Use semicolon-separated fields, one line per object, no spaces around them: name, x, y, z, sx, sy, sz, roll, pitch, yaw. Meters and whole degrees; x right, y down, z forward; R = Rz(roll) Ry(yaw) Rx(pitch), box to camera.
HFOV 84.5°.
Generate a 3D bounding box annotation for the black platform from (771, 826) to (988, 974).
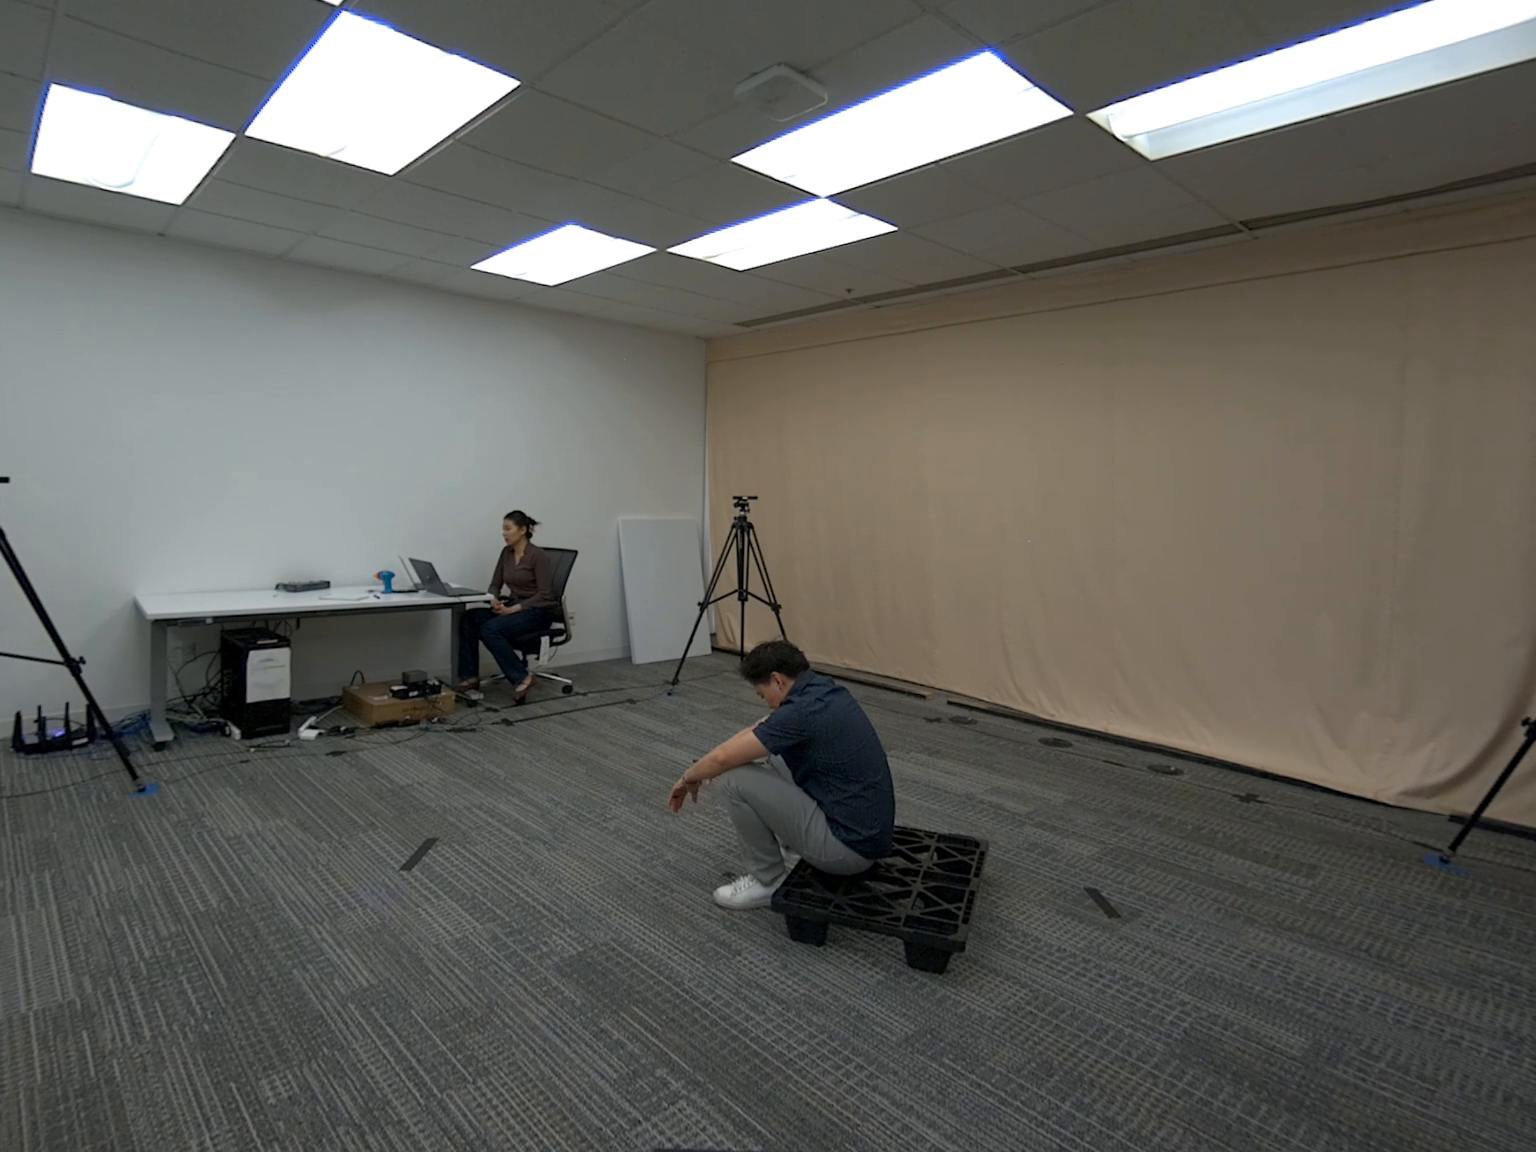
black platform;0.404;1.069;2.895;0.615;0.143;0.795;3;6;20
